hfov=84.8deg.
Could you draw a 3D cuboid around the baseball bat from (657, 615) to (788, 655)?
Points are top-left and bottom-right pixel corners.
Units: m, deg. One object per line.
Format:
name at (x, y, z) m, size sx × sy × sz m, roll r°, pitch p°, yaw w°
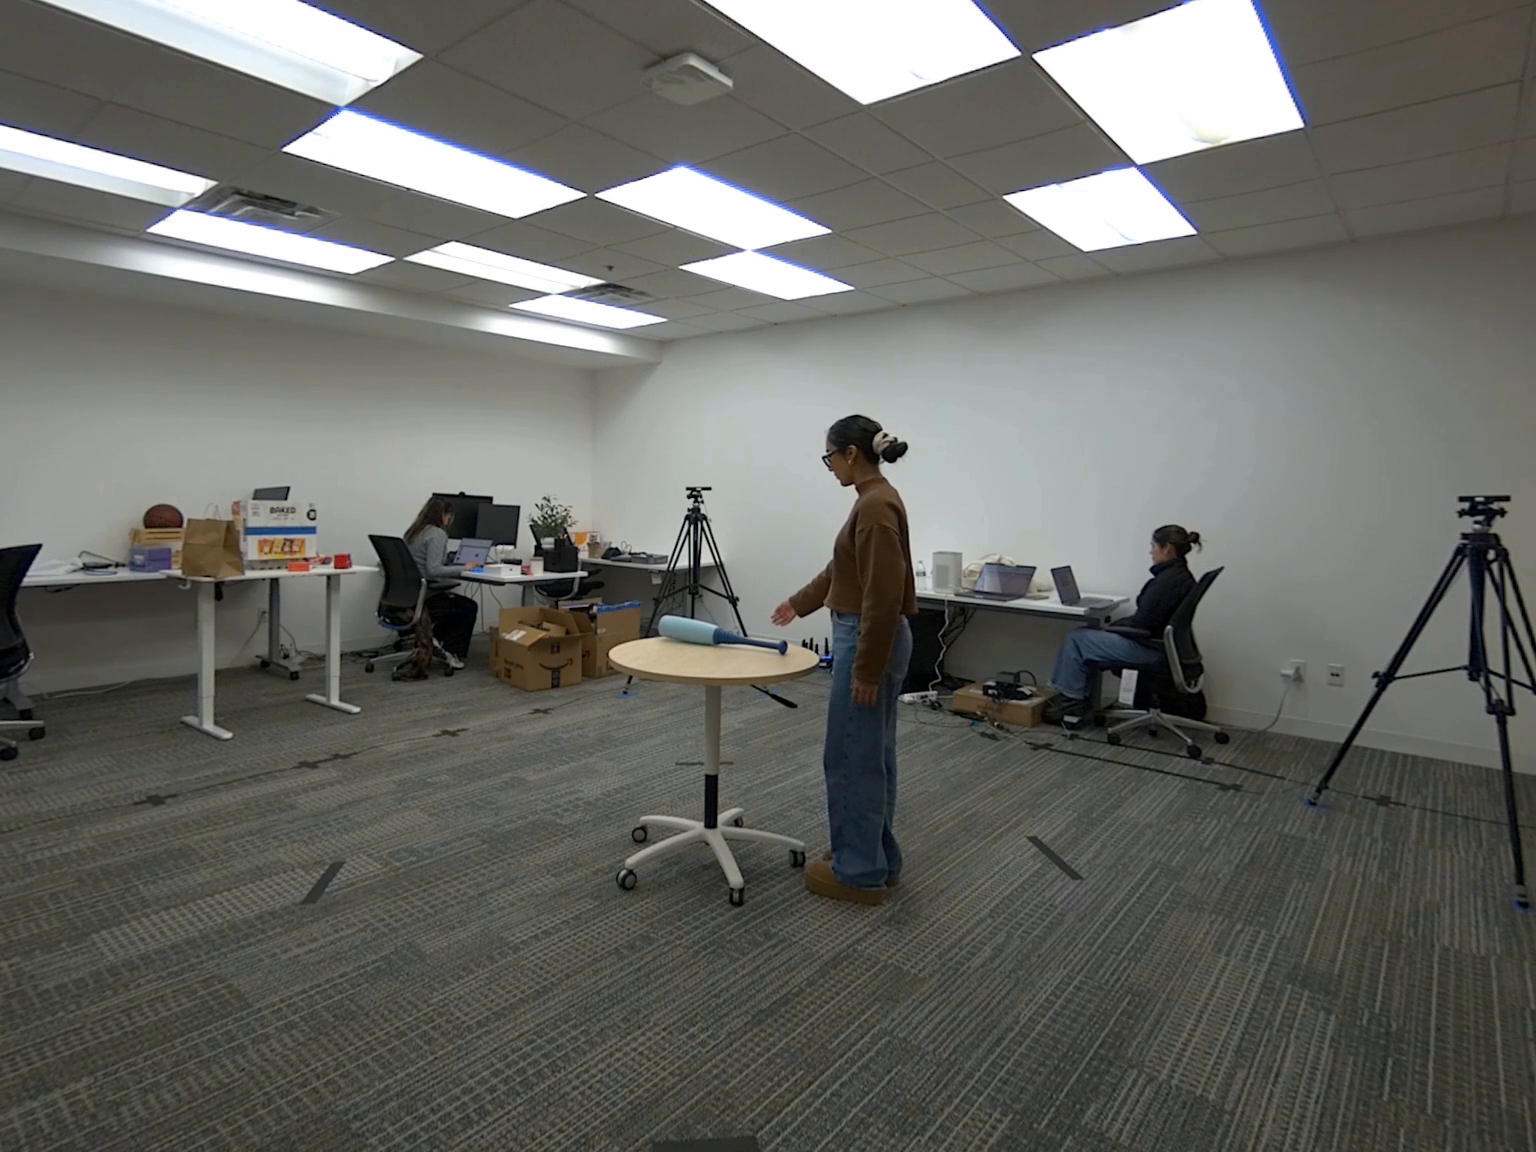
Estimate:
baseball bat at (-0.184, 0.233, 3.258) m, size 0.559 × 0.088 × 0.087 m, roll 8°, pitch 7°, yaw 27°
